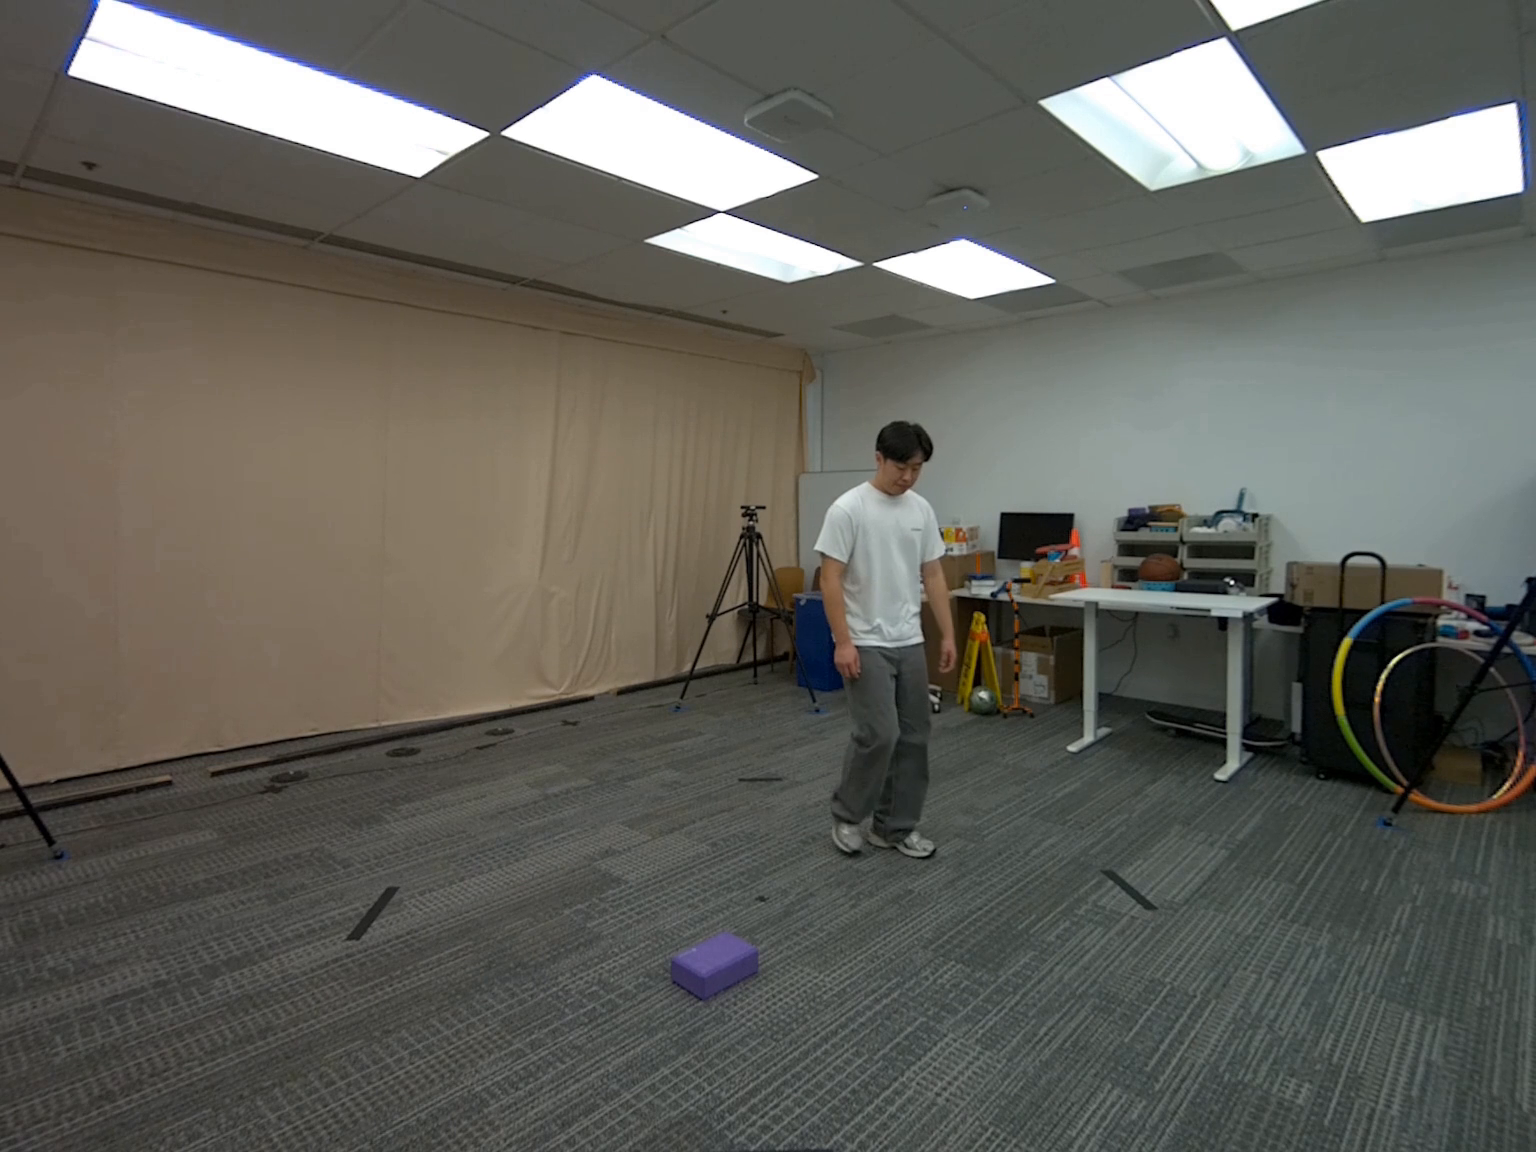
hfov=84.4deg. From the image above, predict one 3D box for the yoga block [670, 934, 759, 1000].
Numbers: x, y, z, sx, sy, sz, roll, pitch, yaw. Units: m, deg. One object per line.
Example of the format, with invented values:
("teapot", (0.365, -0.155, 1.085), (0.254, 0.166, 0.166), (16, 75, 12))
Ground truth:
("yoga block", (-0.148, 1.150, 2.485), (0.222, 0.076, 0.154), (-5, 6, -44))
